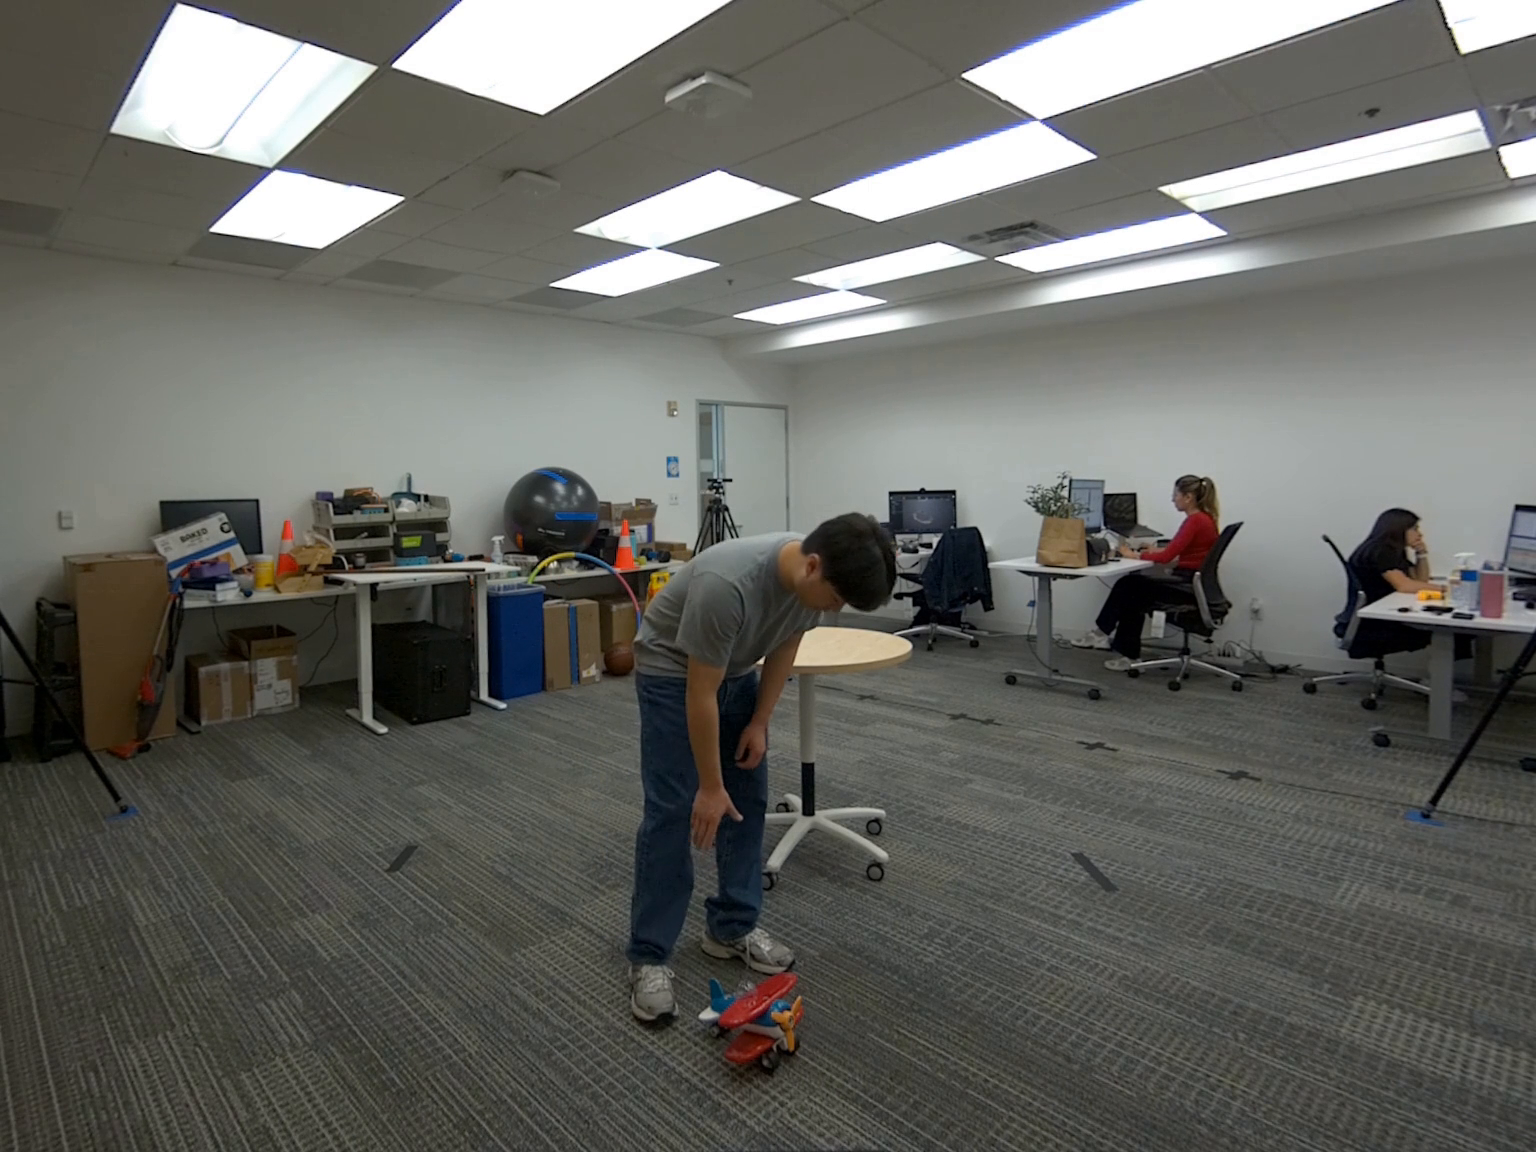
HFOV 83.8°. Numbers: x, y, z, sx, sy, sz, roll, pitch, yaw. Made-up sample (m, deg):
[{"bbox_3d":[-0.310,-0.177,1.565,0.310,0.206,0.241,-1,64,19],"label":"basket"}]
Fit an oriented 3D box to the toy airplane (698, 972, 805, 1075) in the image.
[{"bbox_3d":[-0.042,1.094,2.086,0.262,0.156,0.249,1,6,12],"label":"toy airplane"}]
